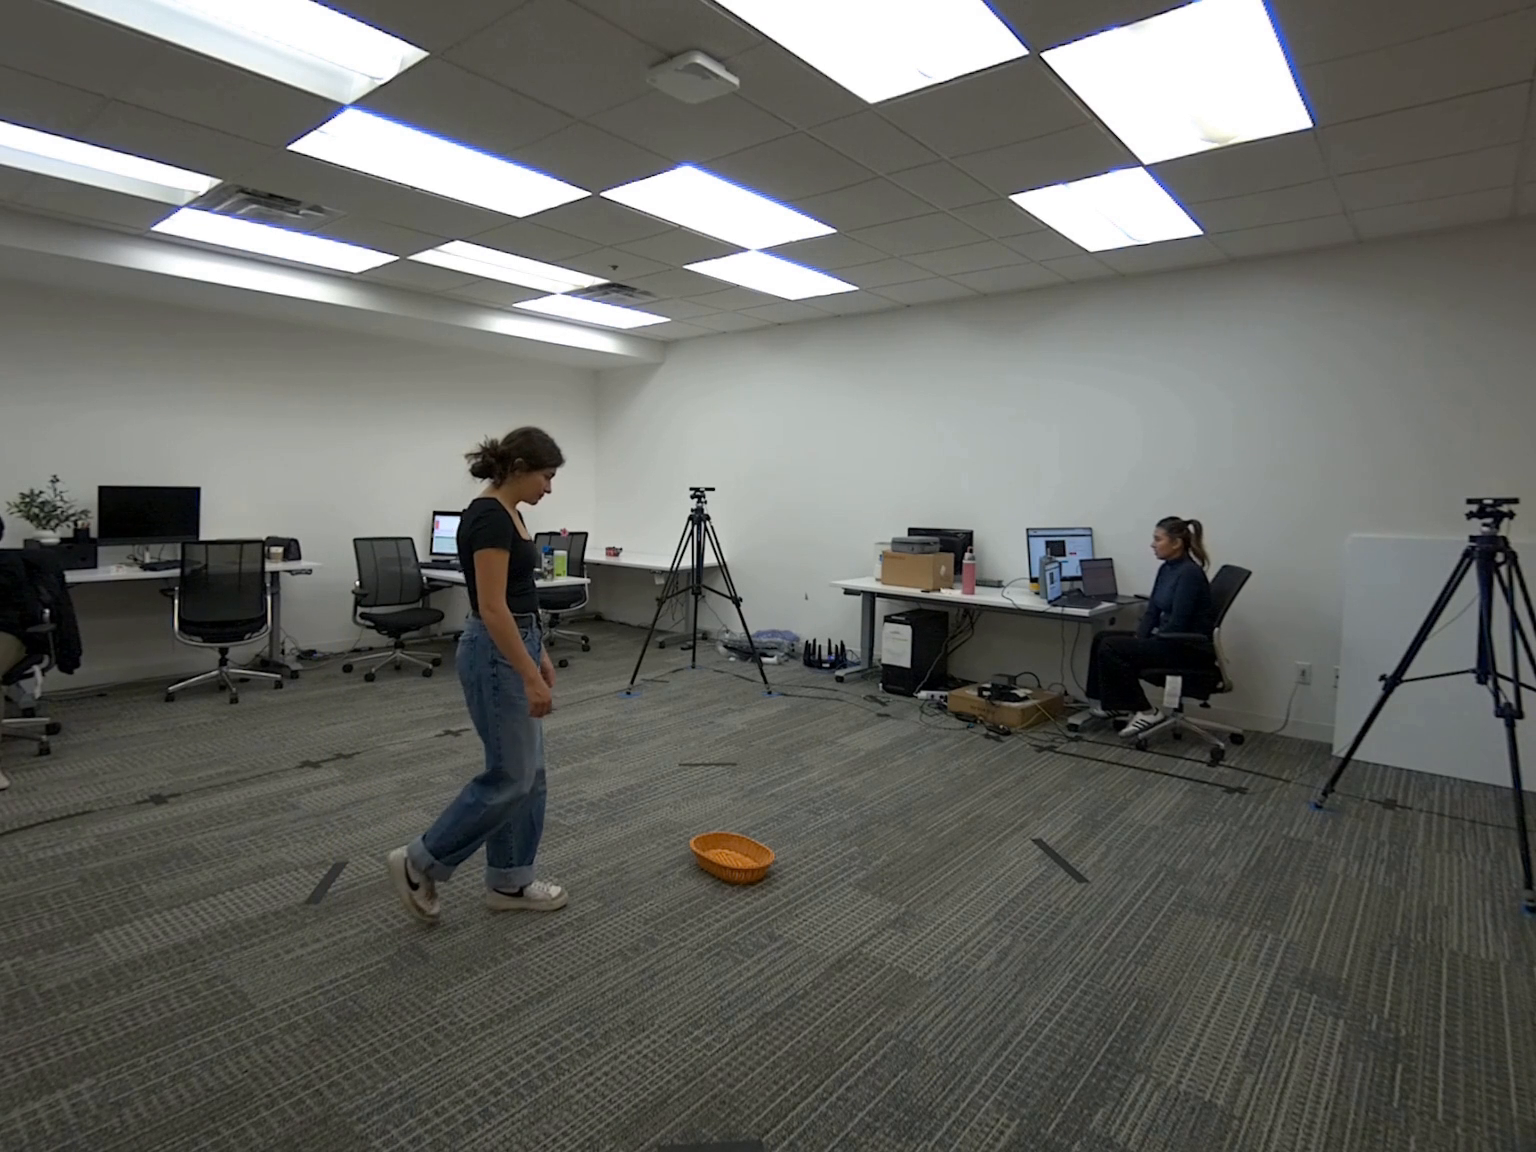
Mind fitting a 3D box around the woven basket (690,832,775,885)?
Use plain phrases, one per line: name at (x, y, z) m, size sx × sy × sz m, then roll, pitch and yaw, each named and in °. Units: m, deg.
woven basket at (-0.143, 1.027, 3.114) m, size 0.245 × 0.073 × 0.362 m, roll -1°, pitch 5°, yaw -38°
